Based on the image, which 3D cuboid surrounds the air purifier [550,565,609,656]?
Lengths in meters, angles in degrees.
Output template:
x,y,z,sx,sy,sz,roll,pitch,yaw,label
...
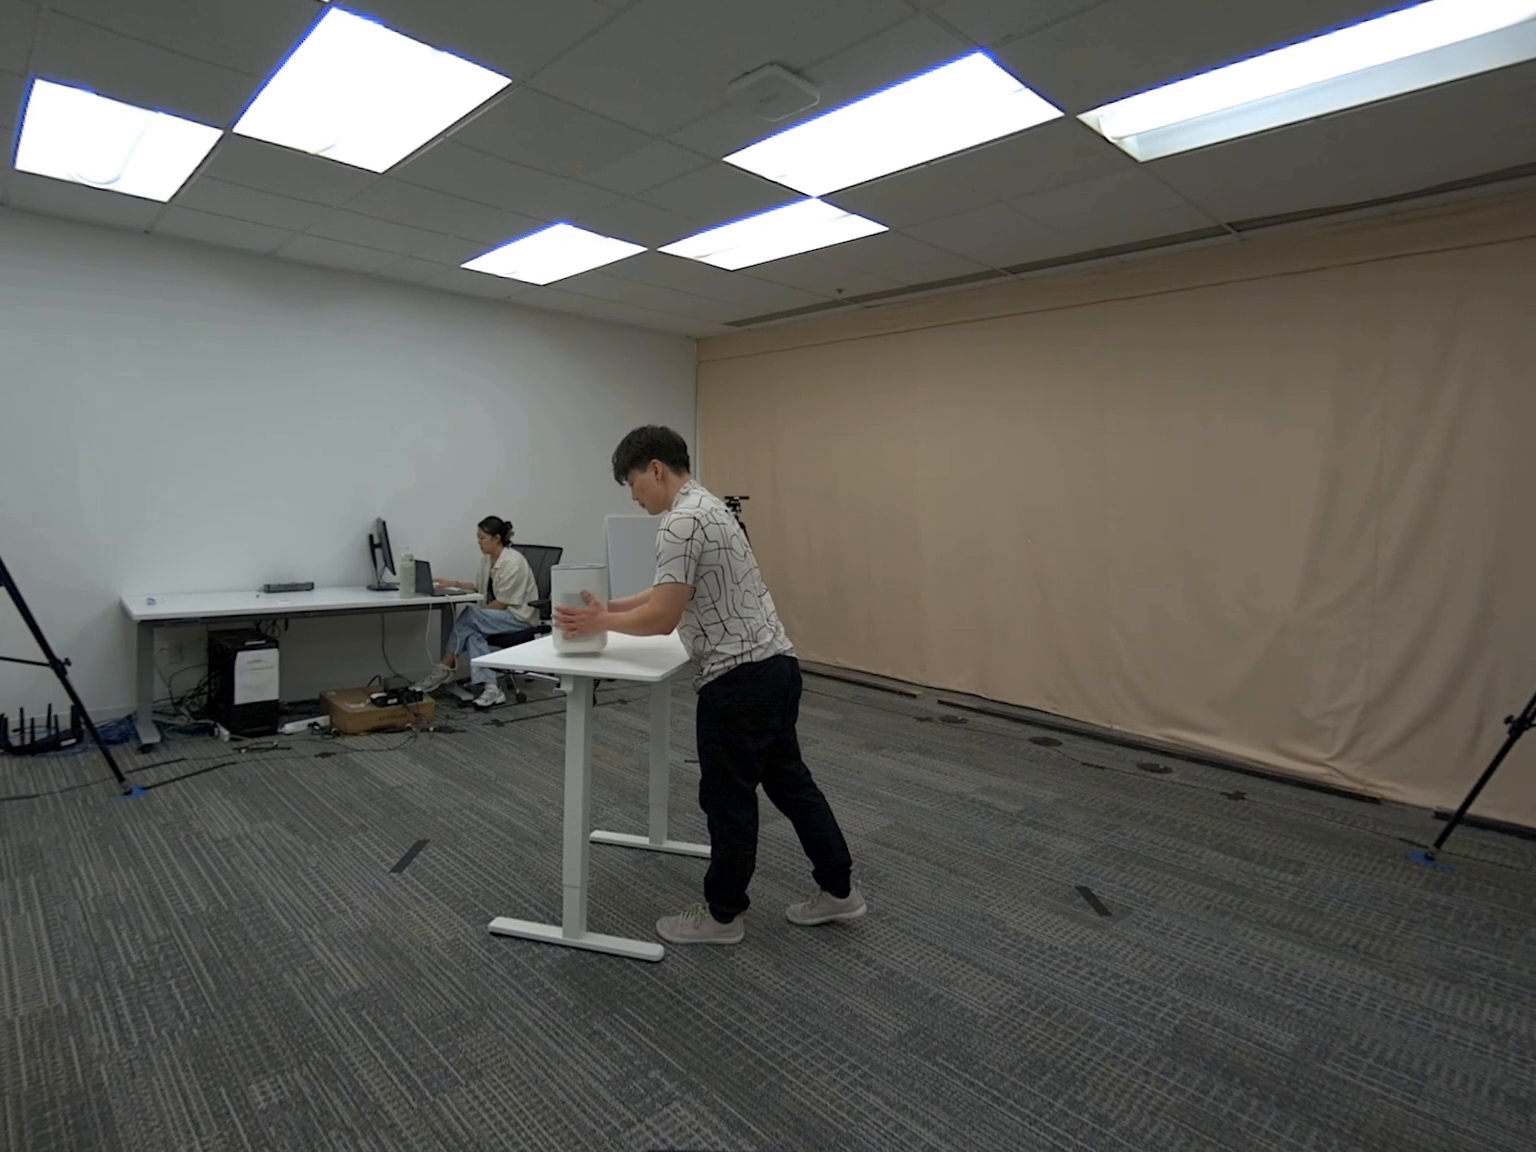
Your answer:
x,y,z,sx,sy,sz,roll,pitch,yaw,label
-0.592,0.102,2.654,0.170,0.265,0.172,-1,4,-8,air purifier
